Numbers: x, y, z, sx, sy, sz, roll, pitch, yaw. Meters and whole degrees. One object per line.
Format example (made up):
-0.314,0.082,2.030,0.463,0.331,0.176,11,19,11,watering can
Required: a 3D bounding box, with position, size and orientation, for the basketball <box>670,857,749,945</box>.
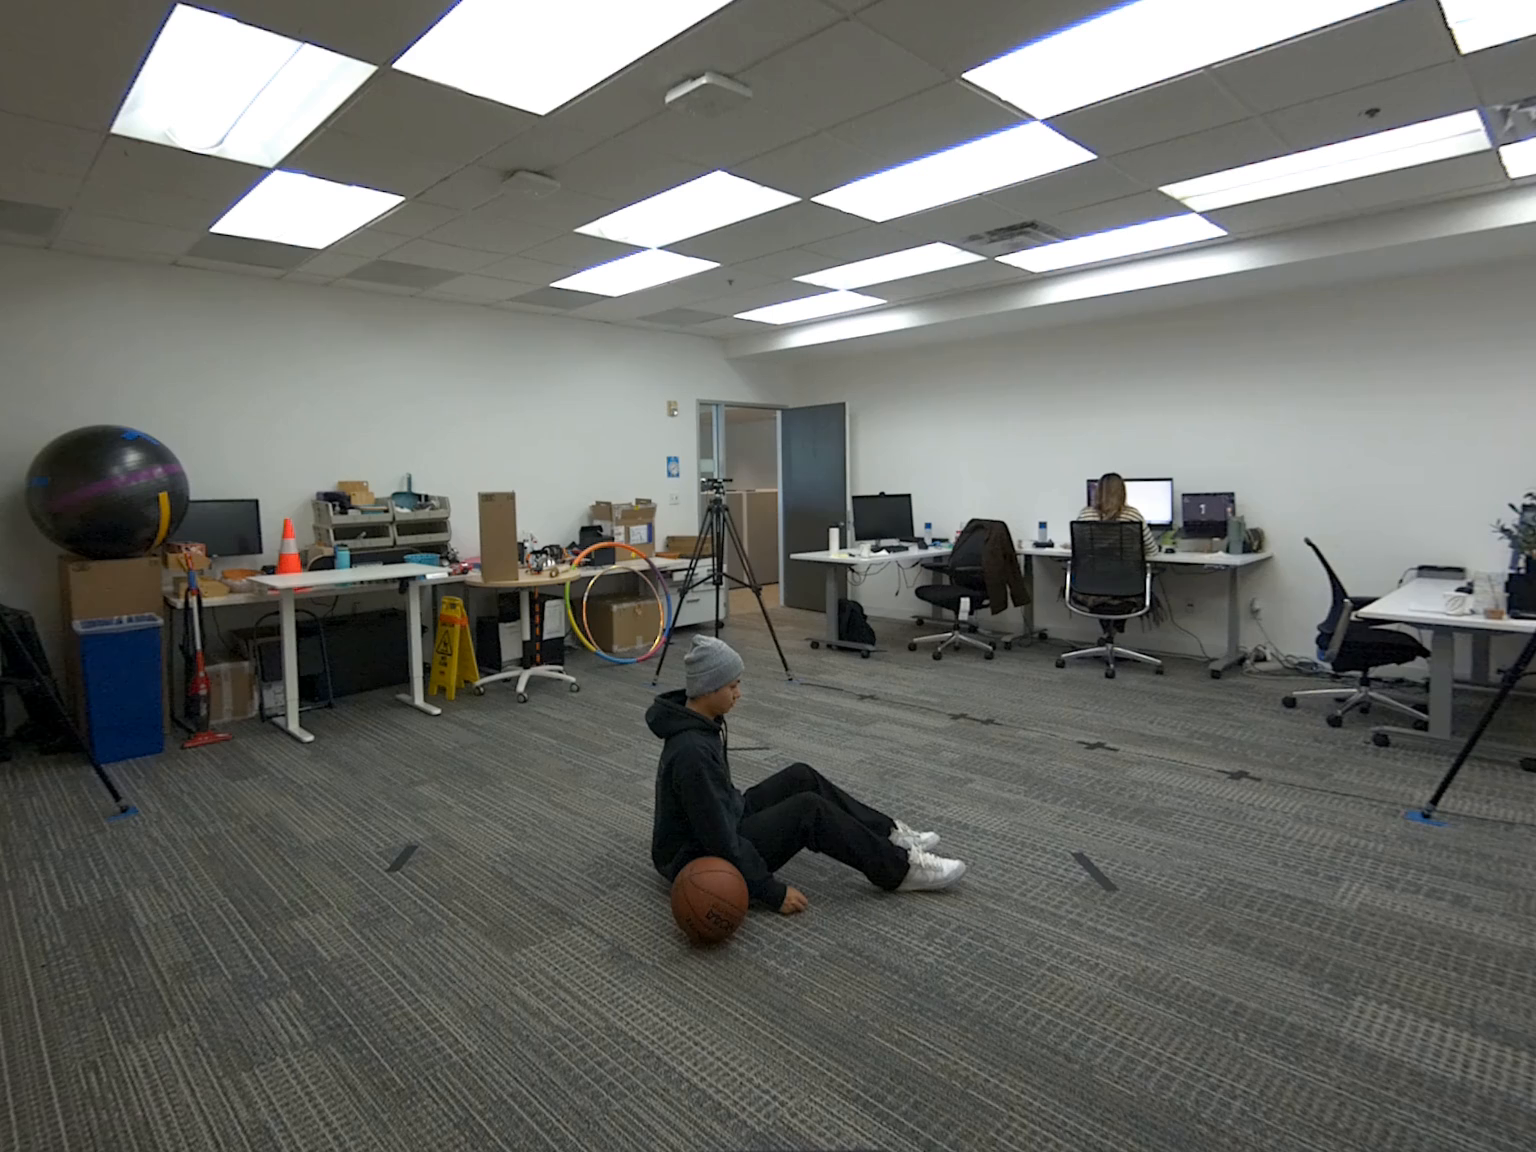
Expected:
-0.185,0.983,2.613,0.236,0.235,0.237,-1,5,-2,basketball
